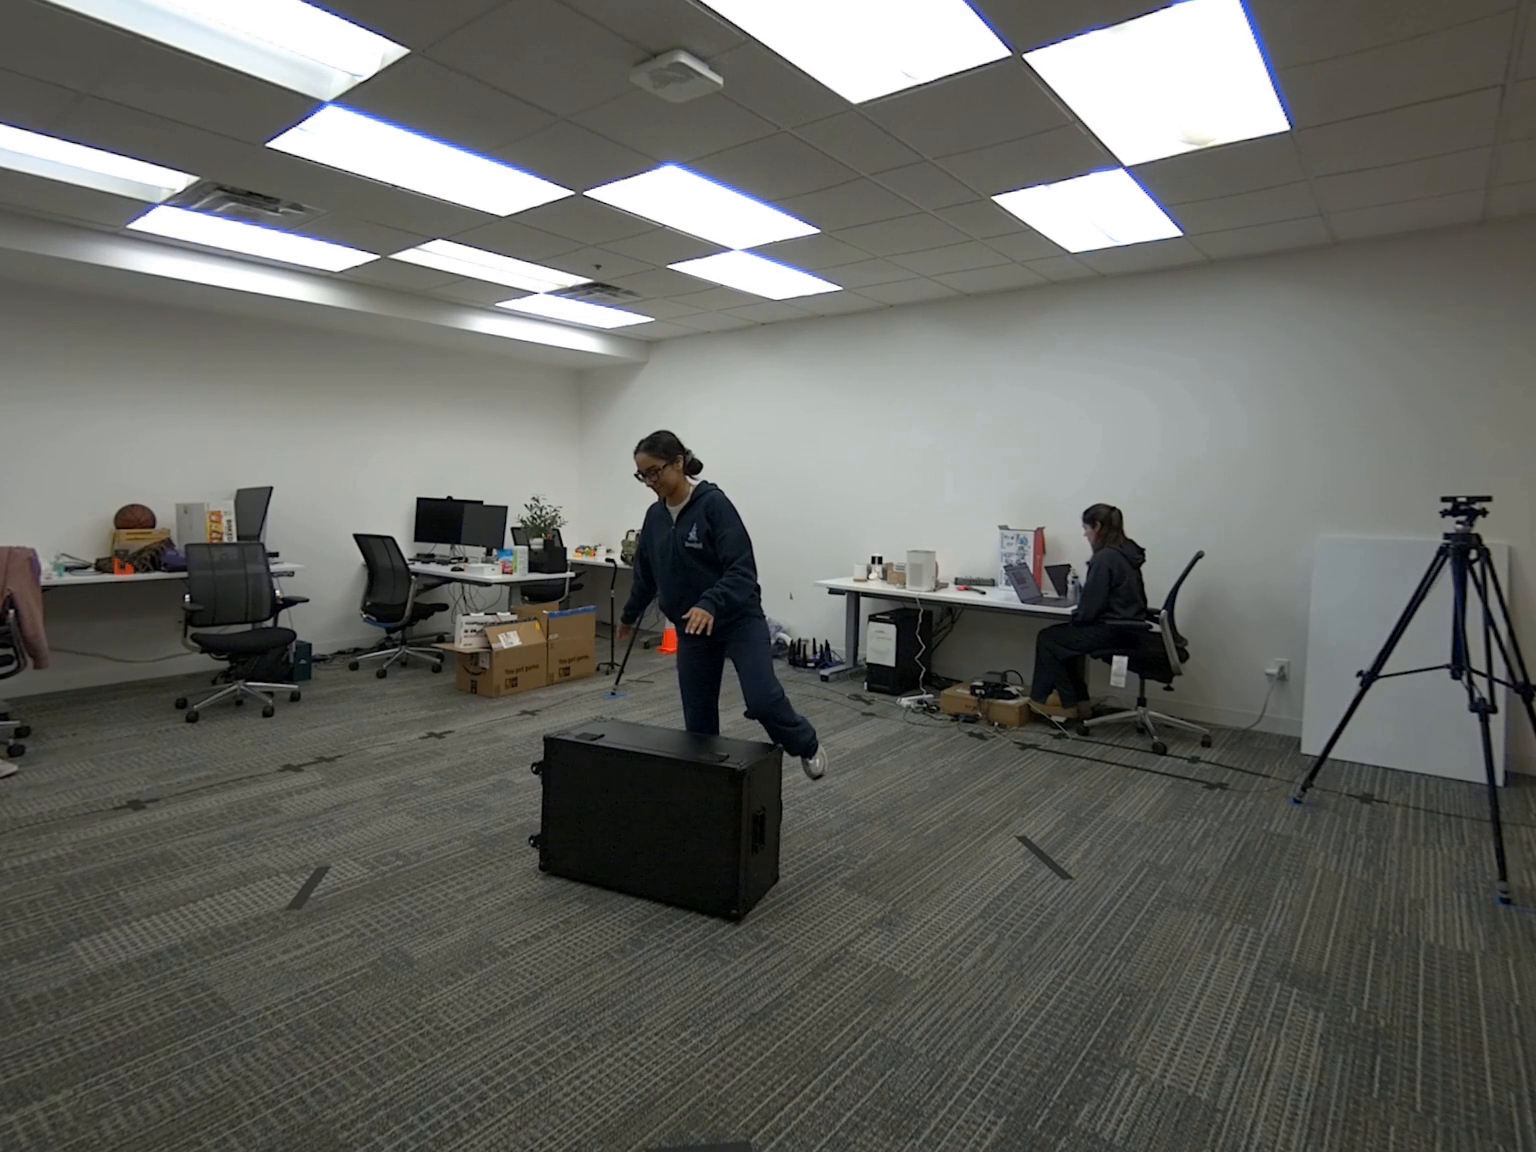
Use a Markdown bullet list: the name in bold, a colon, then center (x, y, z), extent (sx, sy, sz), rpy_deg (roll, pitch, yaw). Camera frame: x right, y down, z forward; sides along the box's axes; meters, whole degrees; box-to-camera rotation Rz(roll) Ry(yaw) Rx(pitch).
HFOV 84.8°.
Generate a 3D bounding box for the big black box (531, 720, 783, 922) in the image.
- **big black box**: center (-0.414, 0.814, 3.047), extent (0.883, 0.521, 0.387), rpy_deg (3, 2, 24)
